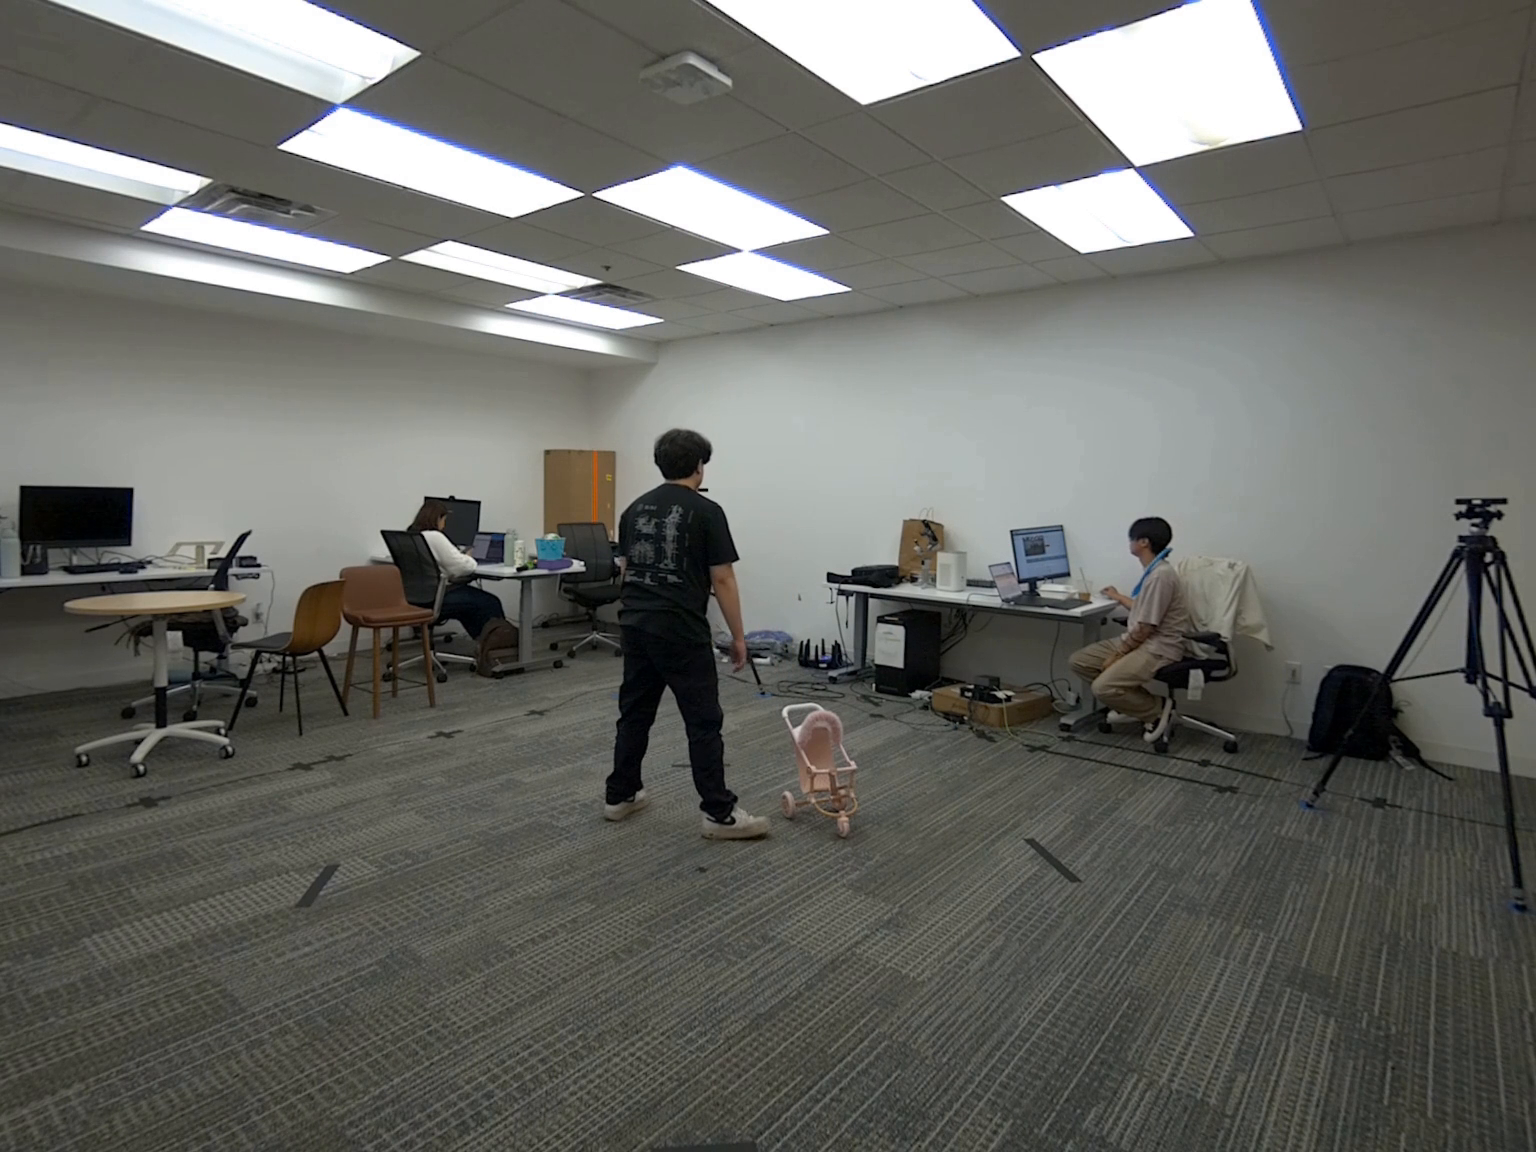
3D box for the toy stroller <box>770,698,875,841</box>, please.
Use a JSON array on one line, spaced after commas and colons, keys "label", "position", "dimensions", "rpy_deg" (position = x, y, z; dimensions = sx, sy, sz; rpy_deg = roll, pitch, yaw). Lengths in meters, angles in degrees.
[{"label": "toy stroller", "position": [0.219, 0.806, 3.588], "dimensions": [0.276, 0.541, 0.344], "rpy_deg": [0, -11, -19]}]
